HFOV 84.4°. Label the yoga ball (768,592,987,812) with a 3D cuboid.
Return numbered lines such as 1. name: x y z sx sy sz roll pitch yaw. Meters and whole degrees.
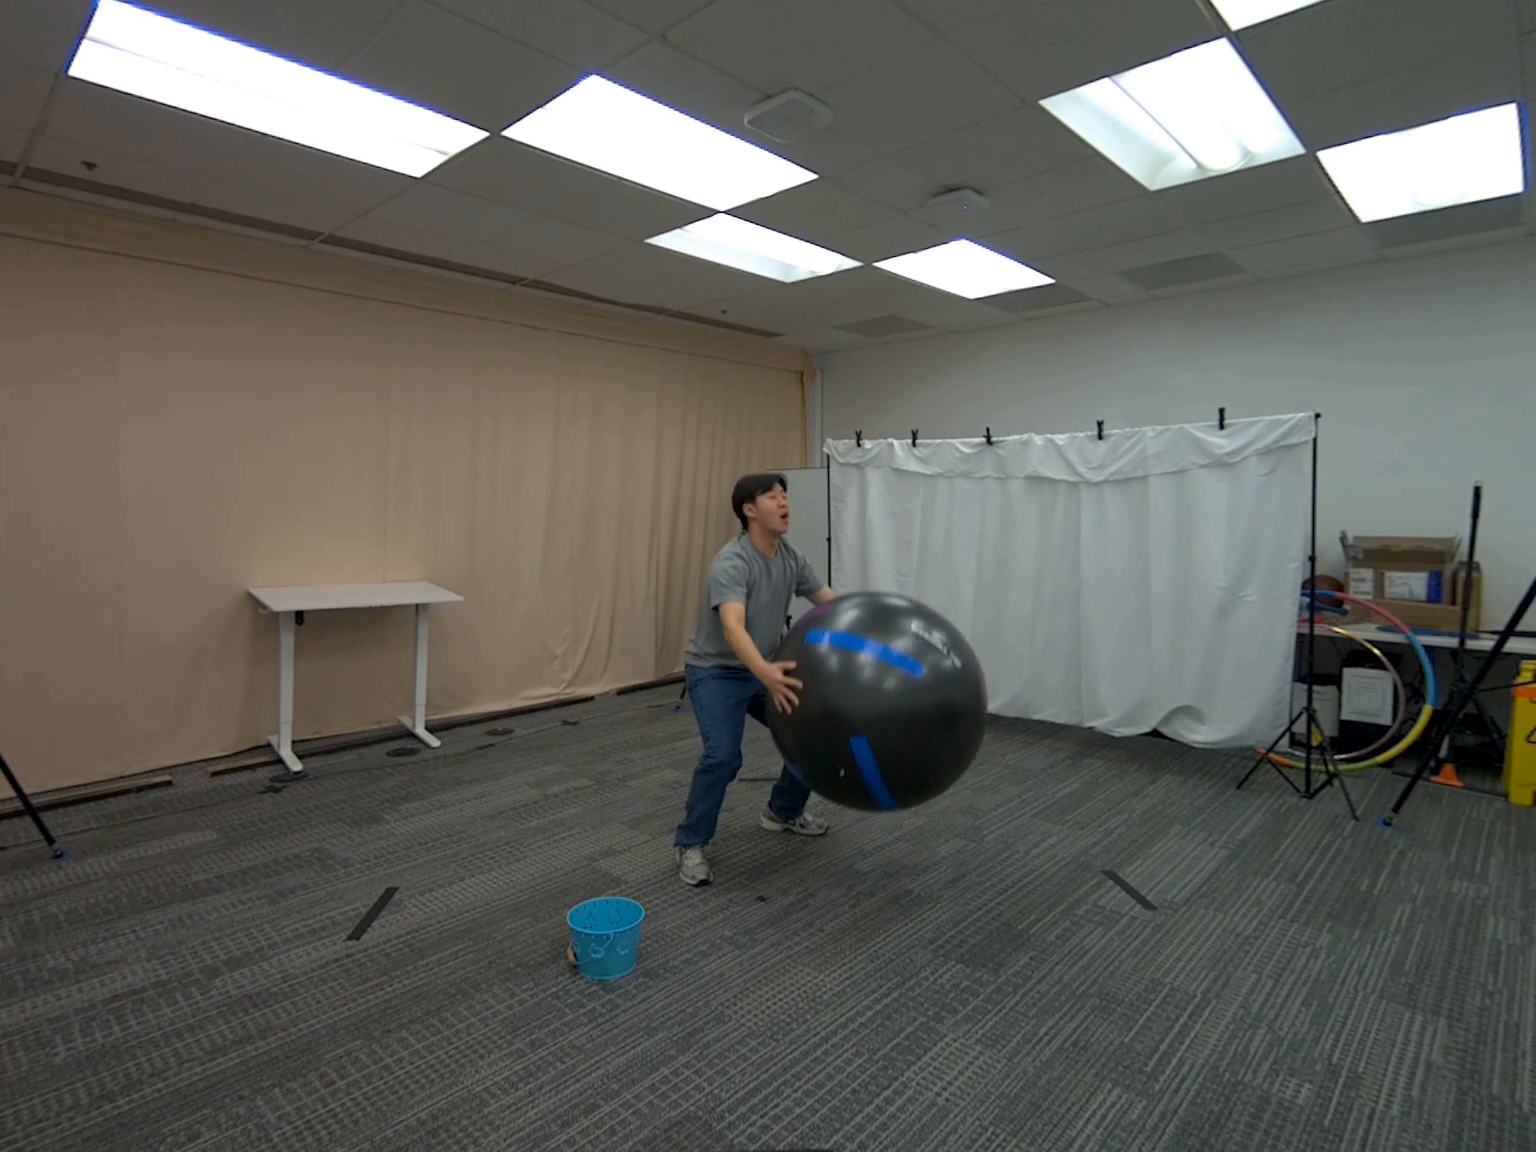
1. yoga ball: 0.375 0.415 2.940 0.757 0.756 0.760 0 4 -2
